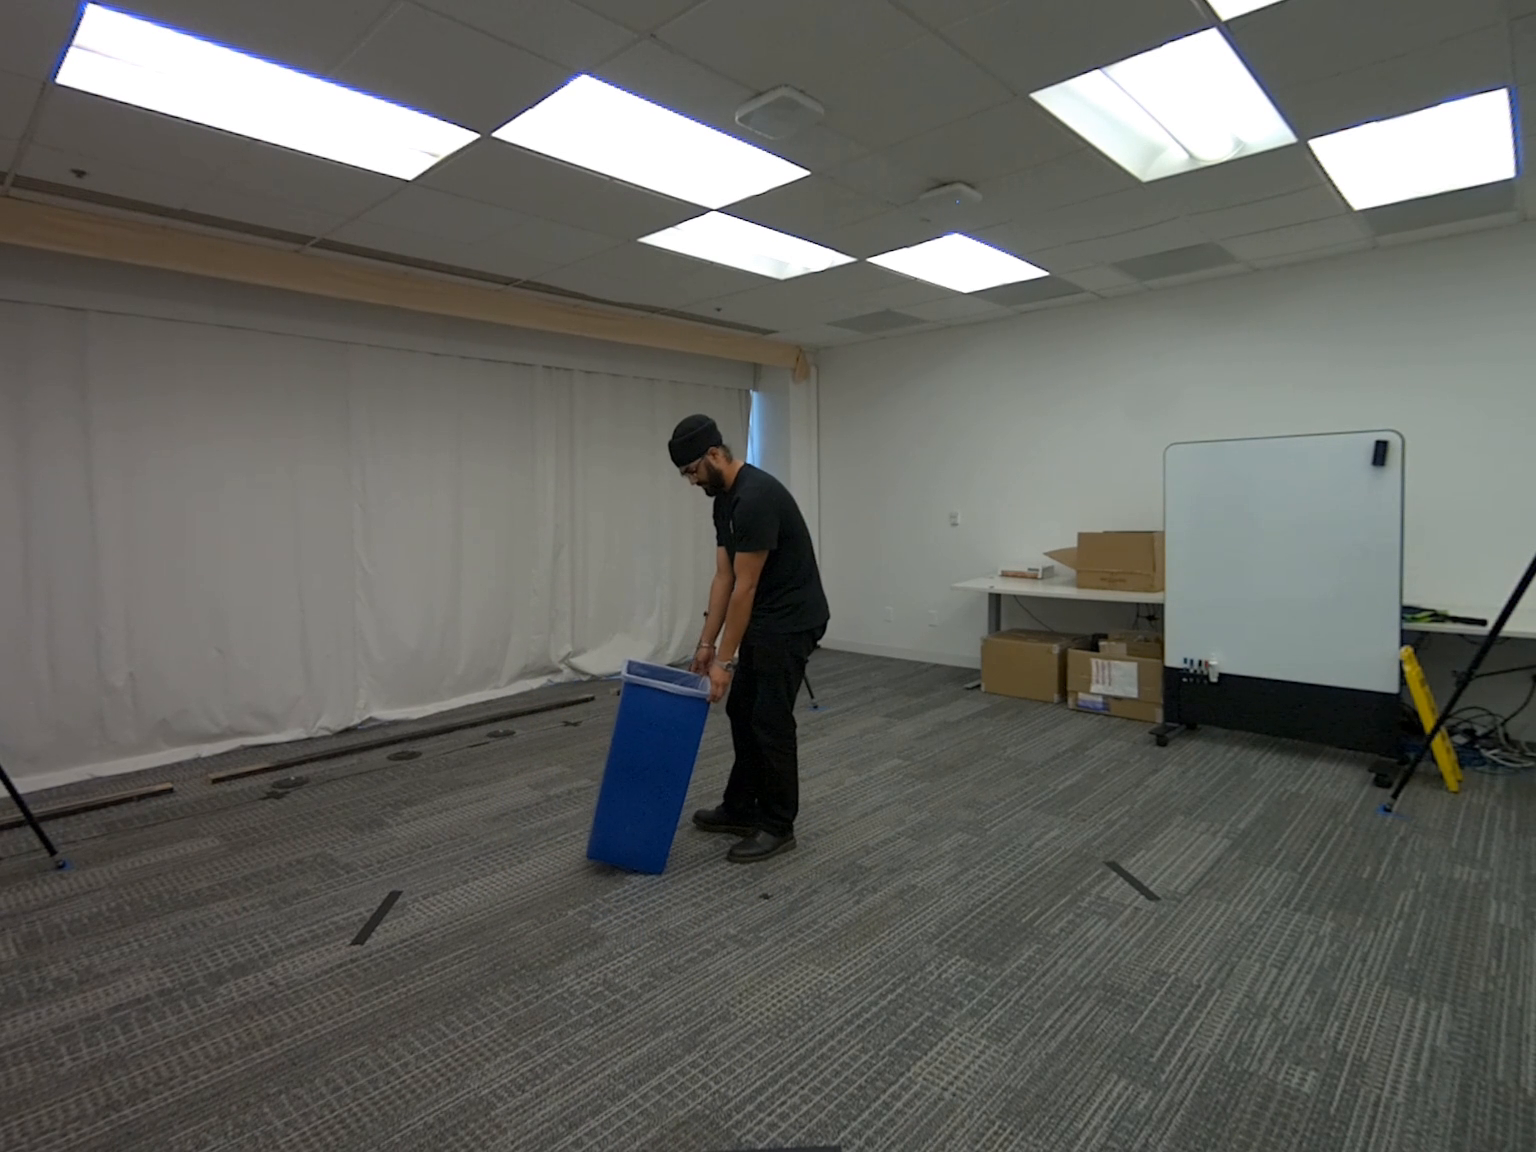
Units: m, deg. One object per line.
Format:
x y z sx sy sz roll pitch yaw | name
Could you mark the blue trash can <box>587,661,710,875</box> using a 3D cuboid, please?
-0.464 0.741 3.311 0.371 0.713 0.382 13 2 -8 | blue trash can
